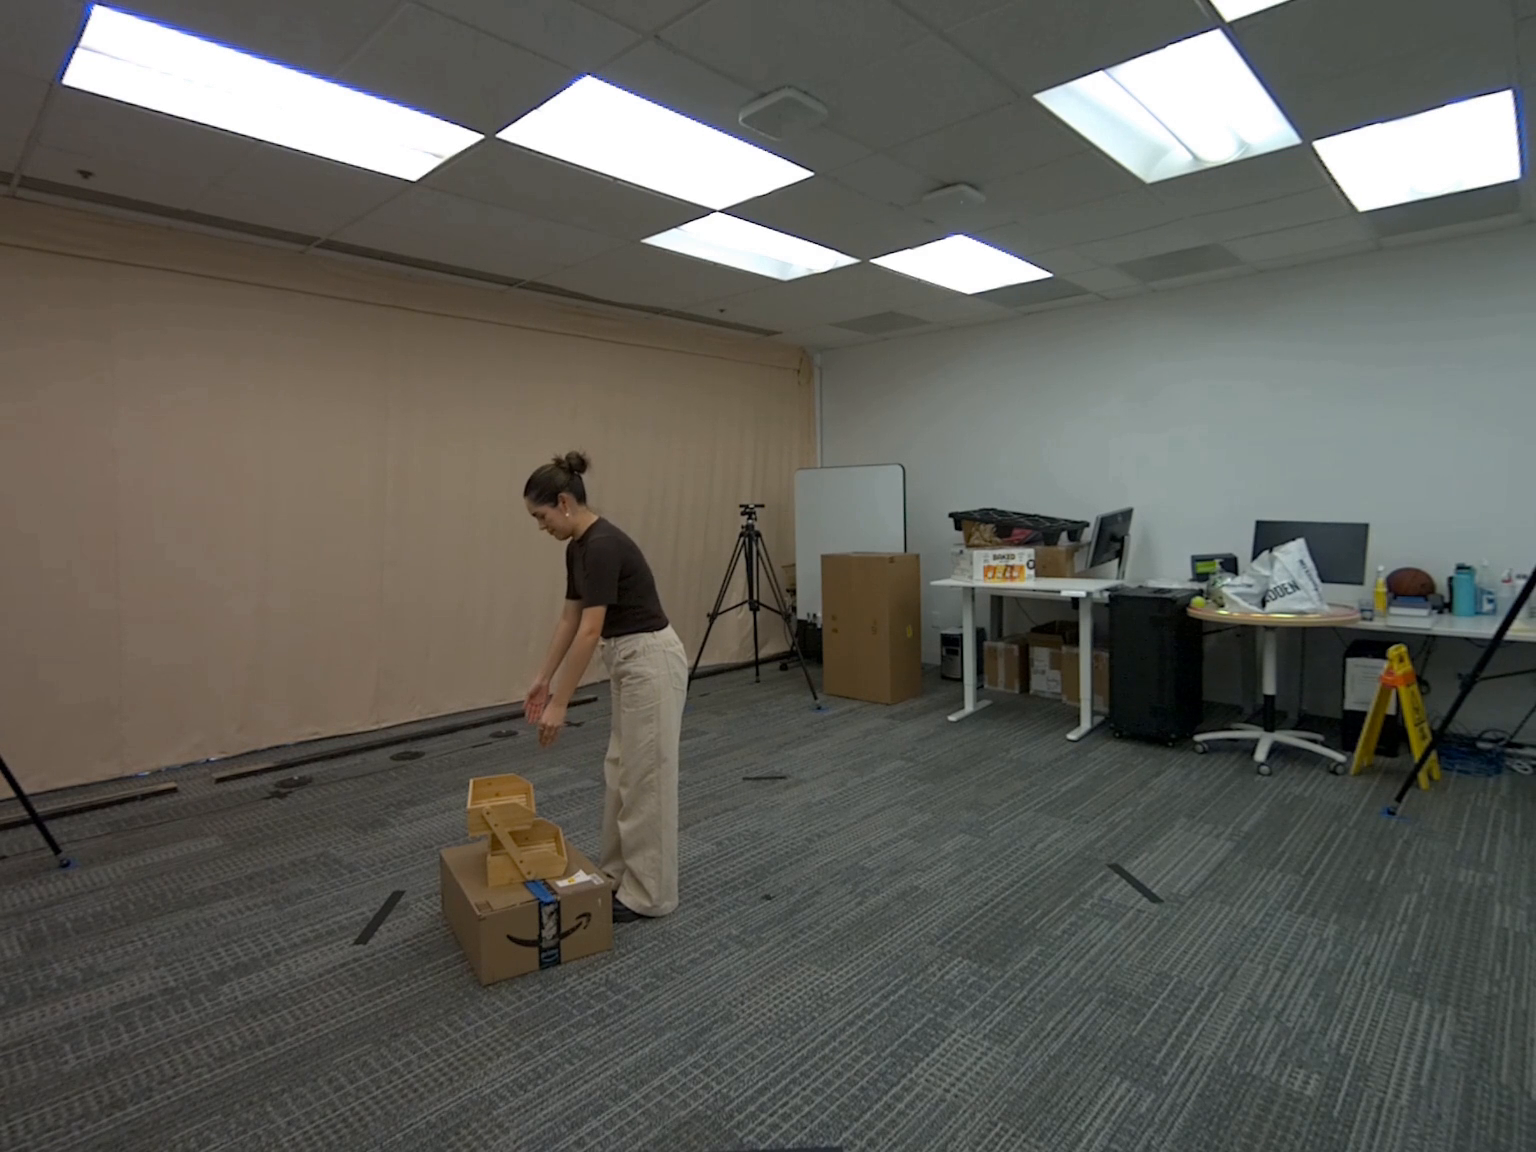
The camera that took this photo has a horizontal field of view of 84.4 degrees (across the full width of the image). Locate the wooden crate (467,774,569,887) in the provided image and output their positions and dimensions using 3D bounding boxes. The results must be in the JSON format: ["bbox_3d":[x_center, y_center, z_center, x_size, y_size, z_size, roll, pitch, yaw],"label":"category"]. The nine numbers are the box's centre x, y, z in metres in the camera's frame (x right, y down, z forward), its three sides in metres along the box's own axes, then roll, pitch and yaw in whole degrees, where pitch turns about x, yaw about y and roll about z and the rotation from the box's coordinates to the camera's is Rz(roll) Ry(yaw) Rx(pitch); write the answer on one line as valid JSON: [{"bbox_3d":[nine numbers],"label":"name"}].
[{"bbox_3d":[-0.824,0.825,2.803,0.297,0.273,0.330,-4,4,-16],"label":"wooden crate"}]
